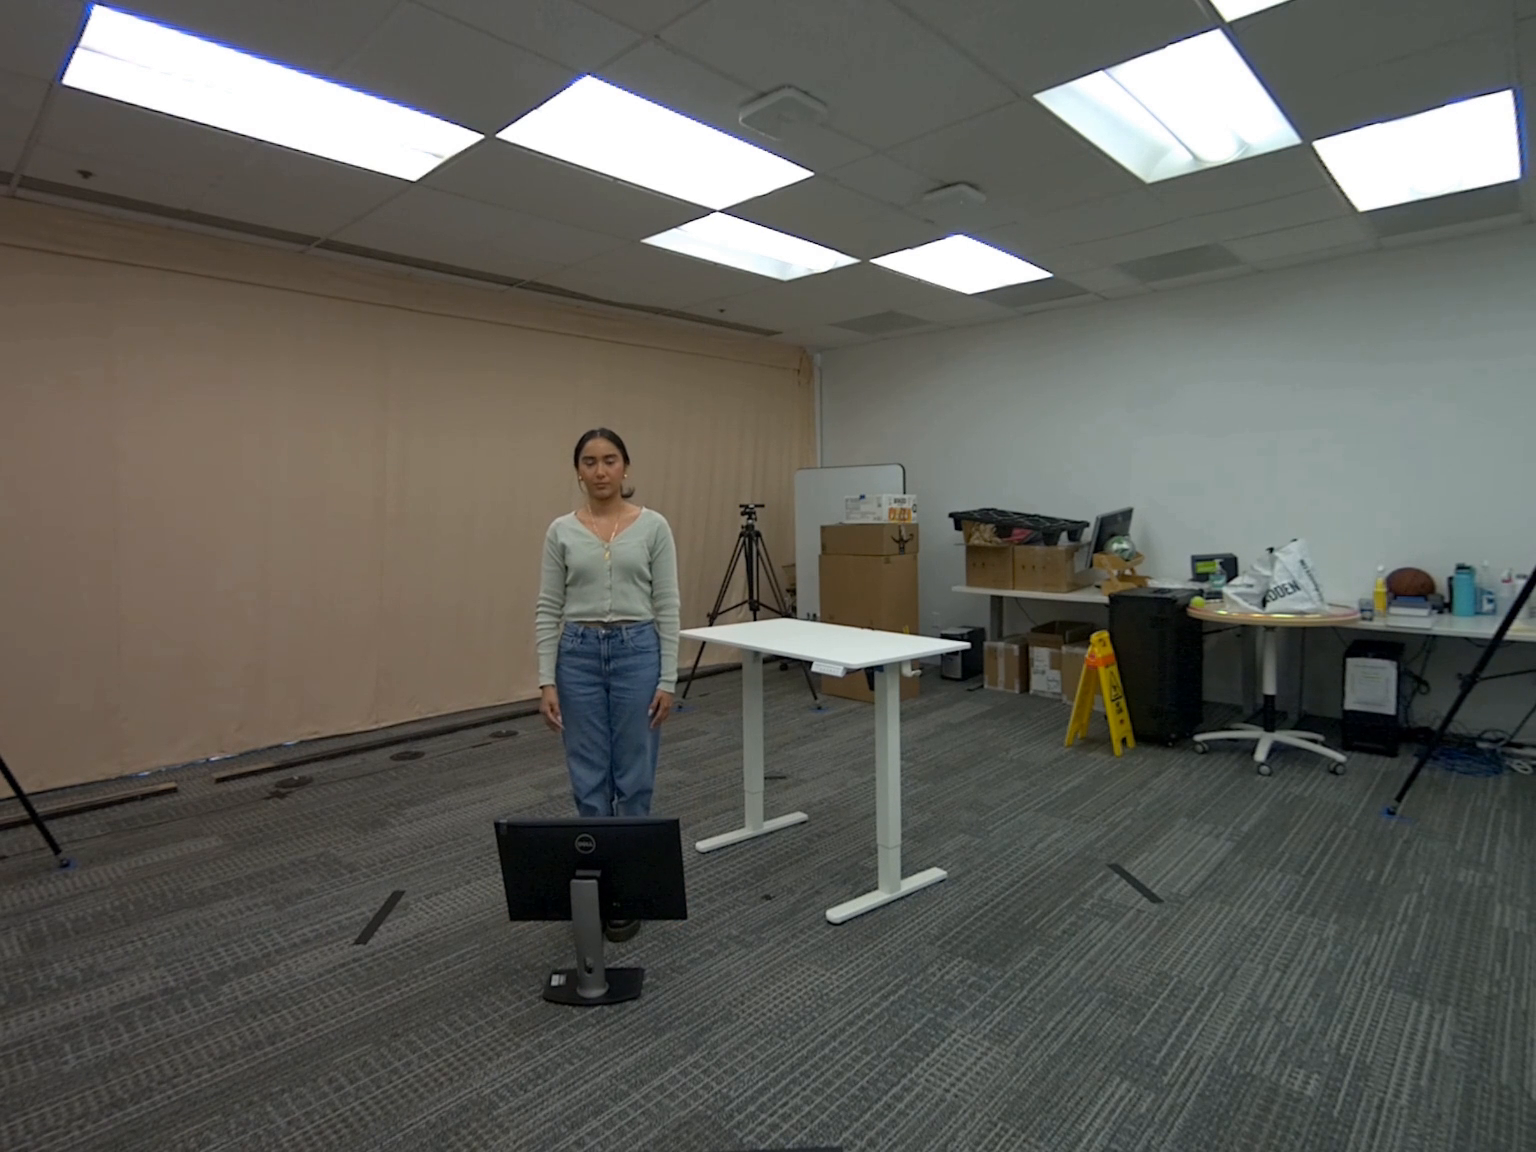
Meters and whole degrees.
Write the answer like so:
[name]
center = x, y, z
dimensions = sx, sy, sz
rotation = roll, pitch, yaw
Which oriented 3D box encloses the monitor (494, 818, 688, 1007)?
[monitor]
center = -0.514, 0.941, 2.427
dimensions = 0.540, 0.521, 0.187
rotation = -3, 4, 1
